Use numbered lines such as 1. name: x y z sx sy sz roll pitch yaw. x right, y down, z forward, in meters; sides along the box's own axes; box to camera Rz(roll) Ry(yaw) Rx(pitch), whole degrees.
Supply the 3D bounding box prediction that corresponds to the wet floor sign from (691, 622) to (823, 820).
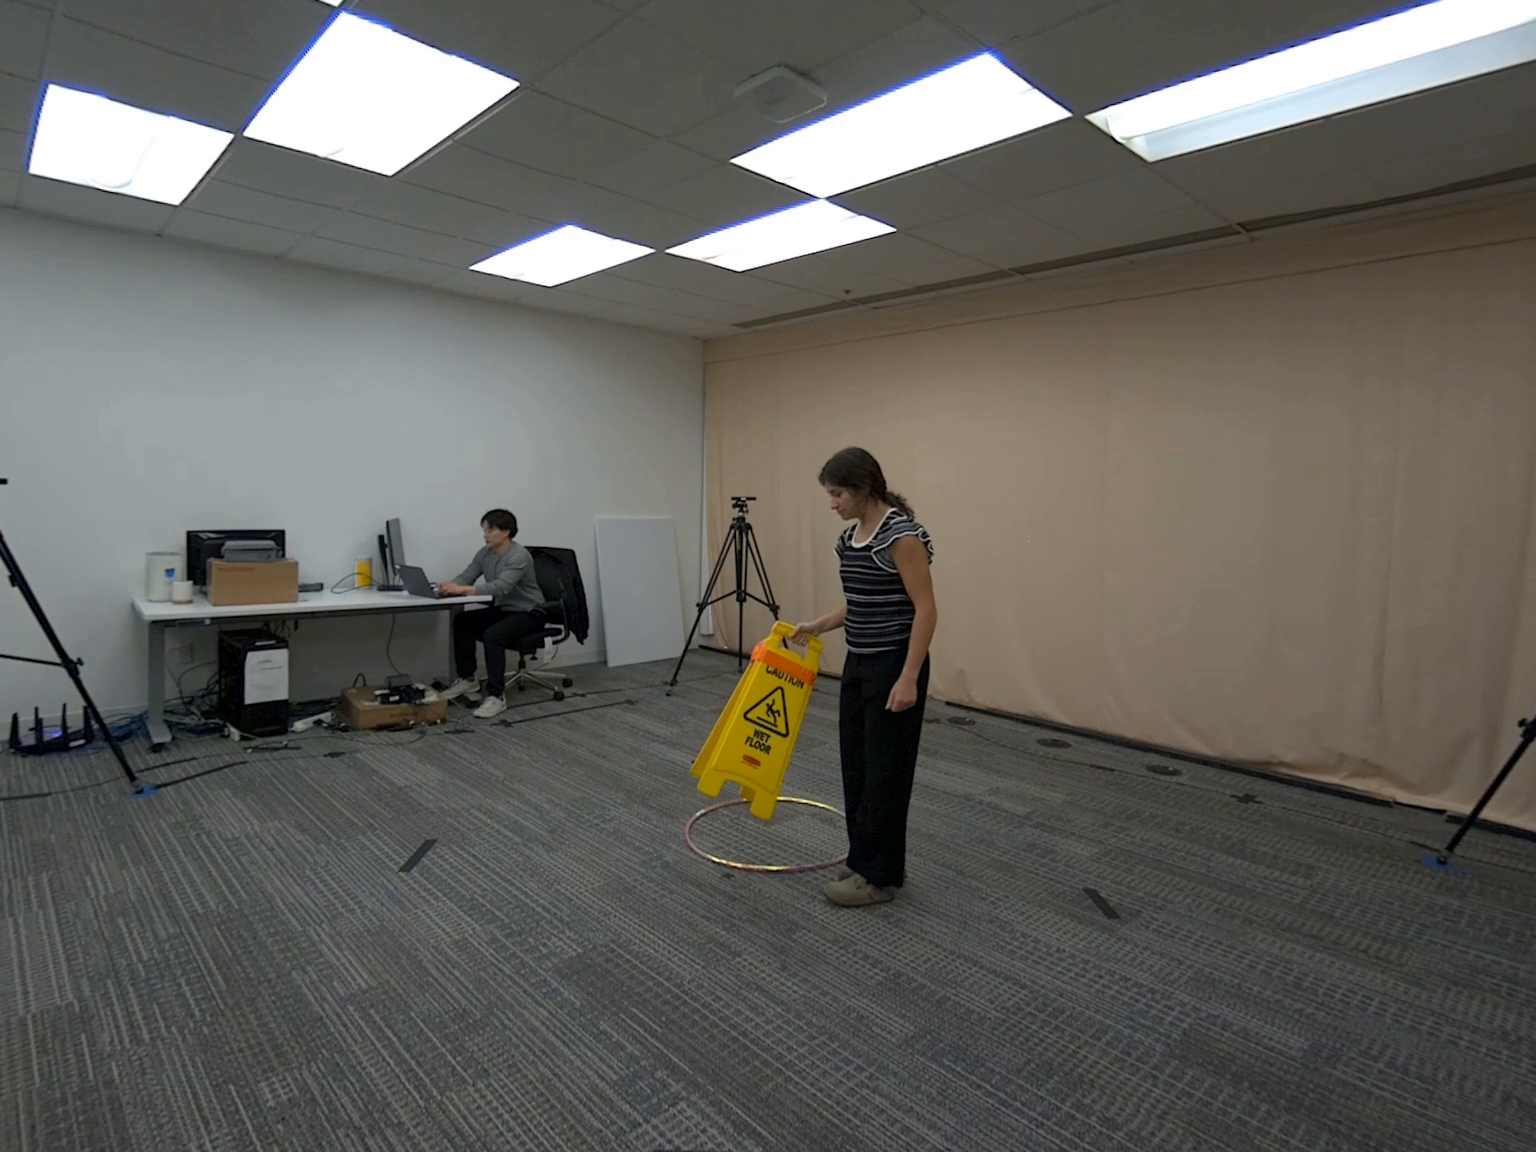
1. wet floor sign: -0.013 0.496 3.055 0.280 0.647 0.292 24 -6 -9
